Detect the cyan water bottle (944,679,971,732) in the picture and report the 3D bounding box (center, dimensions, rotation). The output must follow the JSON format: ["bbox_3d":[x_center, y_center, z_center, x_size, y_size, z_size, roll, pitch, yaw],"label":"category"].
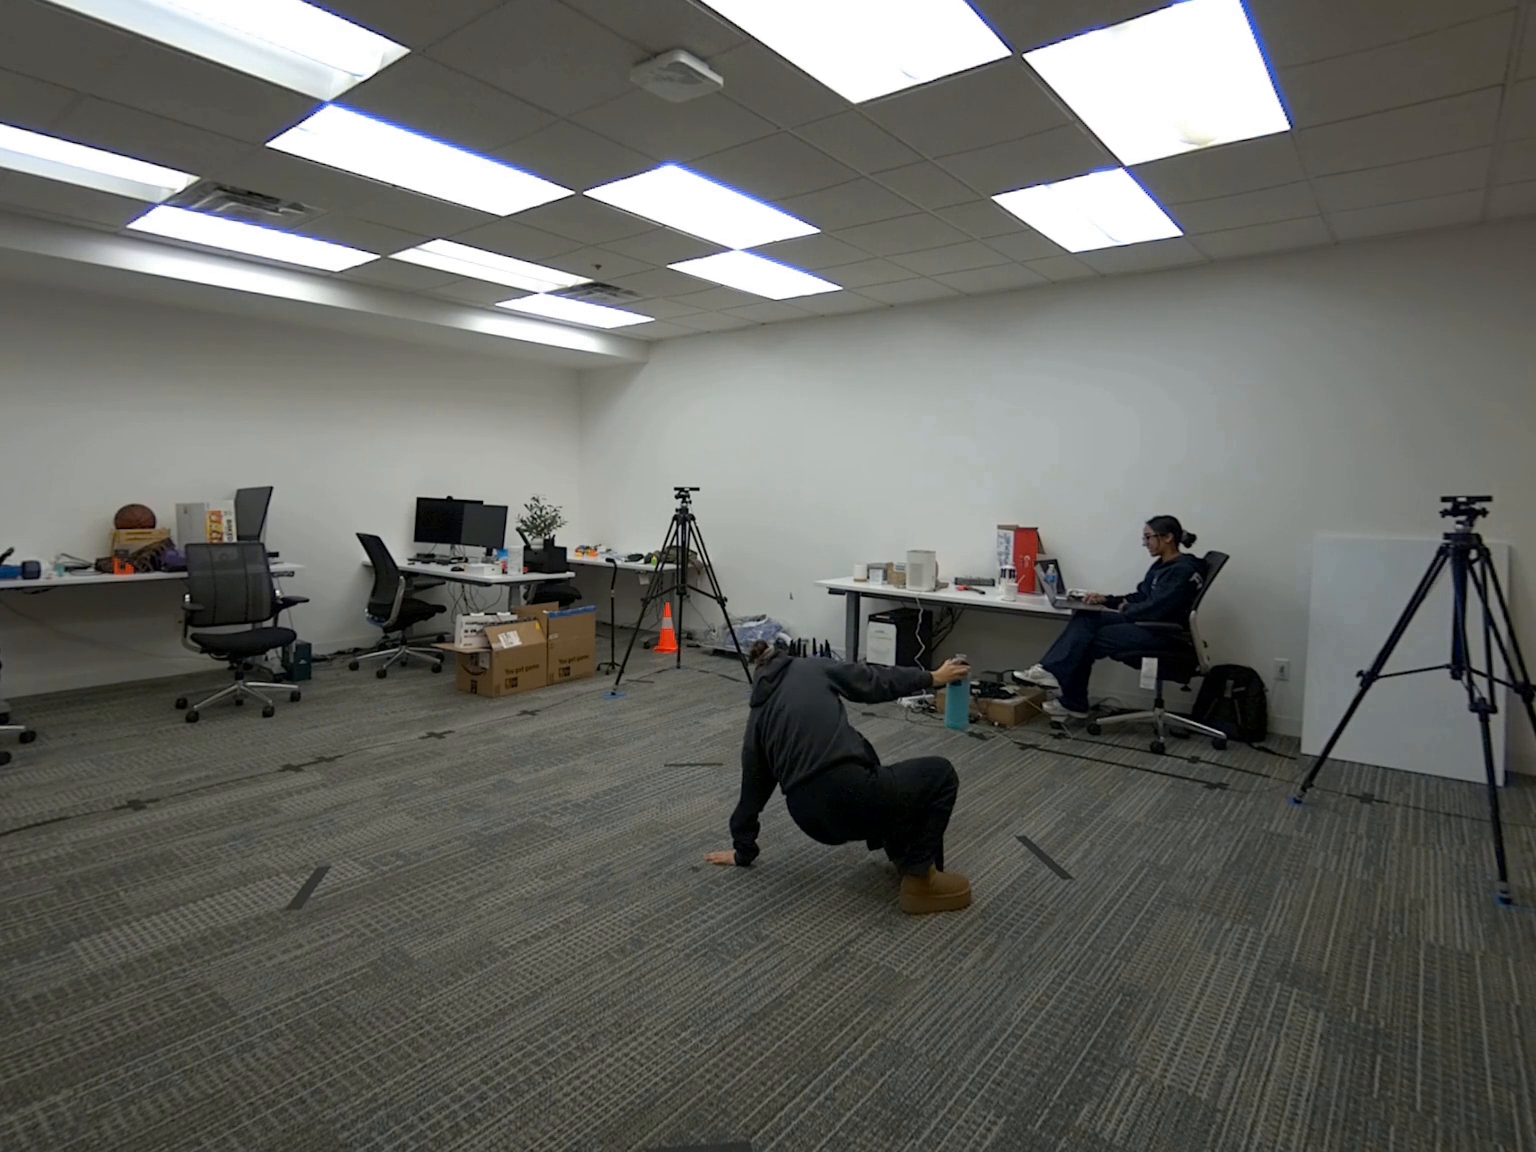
[{"bbox_3d":[0.743,0.451,3.310,0.092,0.282,0.093,2,6,-2],"label":"cyan water bottle"}]
